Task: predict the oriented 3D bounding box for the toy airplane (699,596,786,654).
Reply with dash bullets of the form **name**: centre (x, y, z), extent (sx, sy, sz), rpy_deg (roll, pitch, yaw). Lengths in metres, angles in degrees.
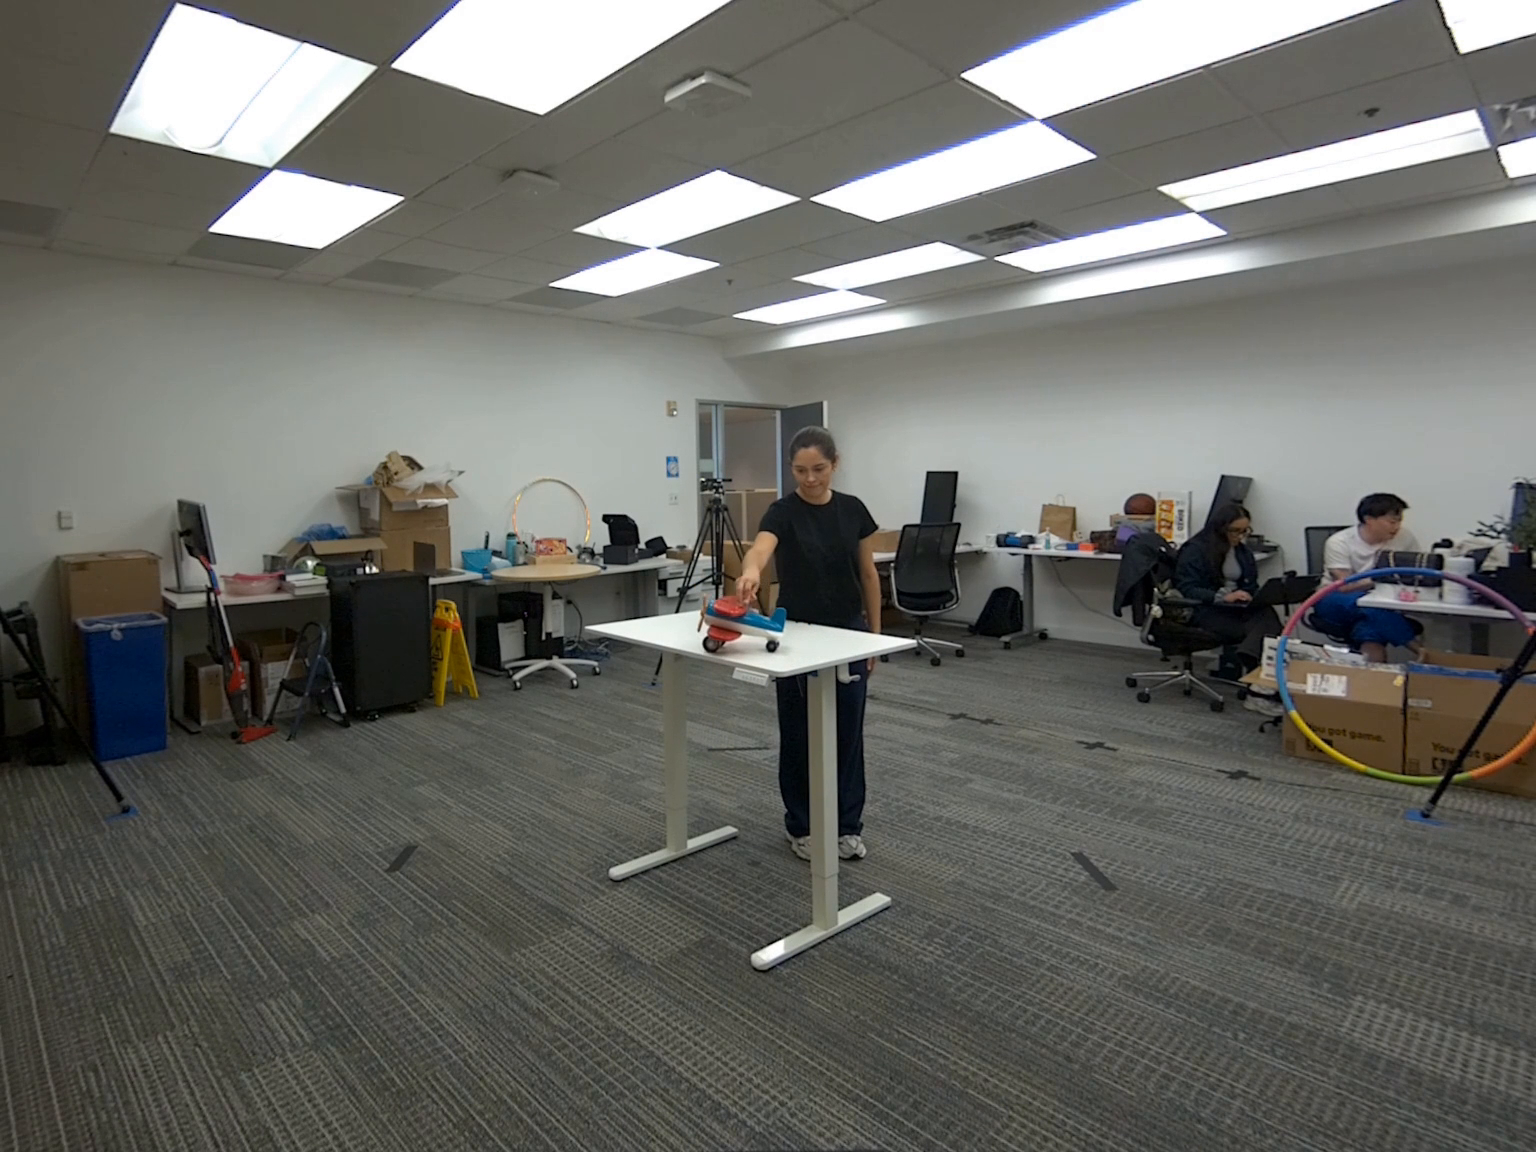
- **toy airplane**: centre (-0.072, 0.142, 2.605), extent (0.255, 0.156, 0.256), rpy_deg (-3, 5, -19)
